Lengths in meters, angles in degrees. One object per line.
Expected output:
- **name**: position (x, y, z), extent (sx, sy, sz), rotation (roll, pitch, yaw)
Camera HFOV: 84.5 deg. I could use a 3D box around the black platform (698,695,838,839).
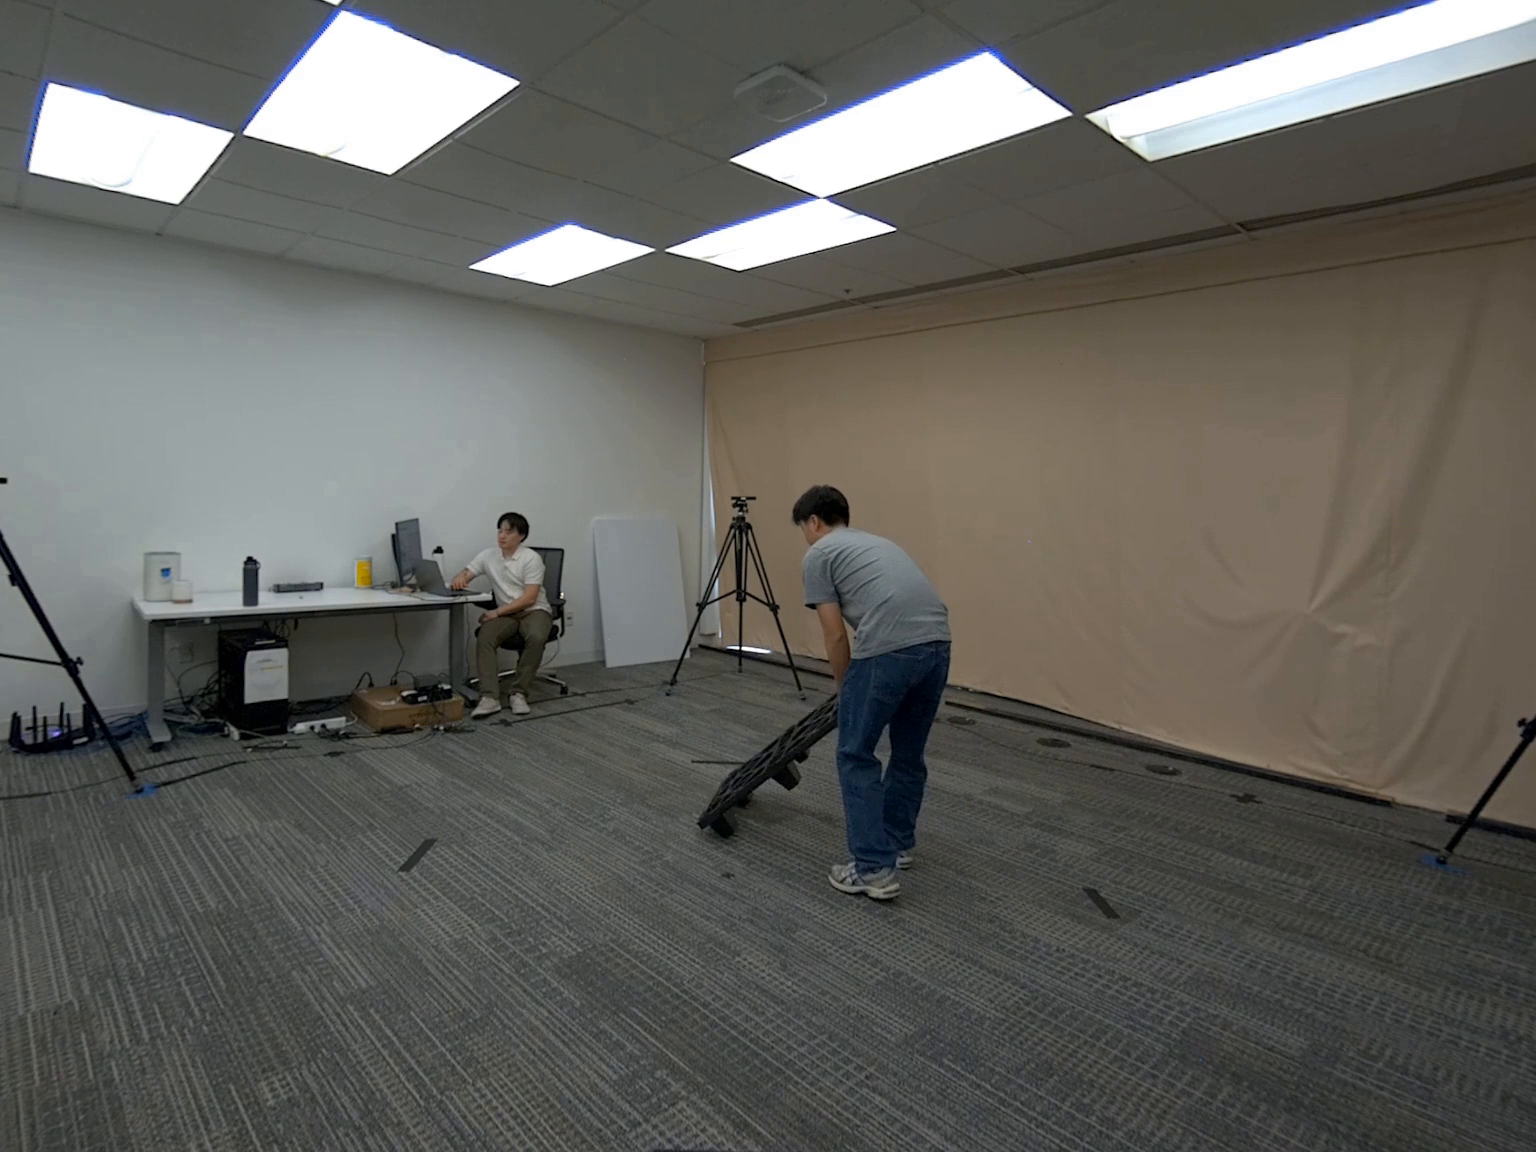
- **black platform**: position (0.091, 0.771, 3.597), extent (0.806, 0.144, 0.602), rotation (-40, -2, 10)
